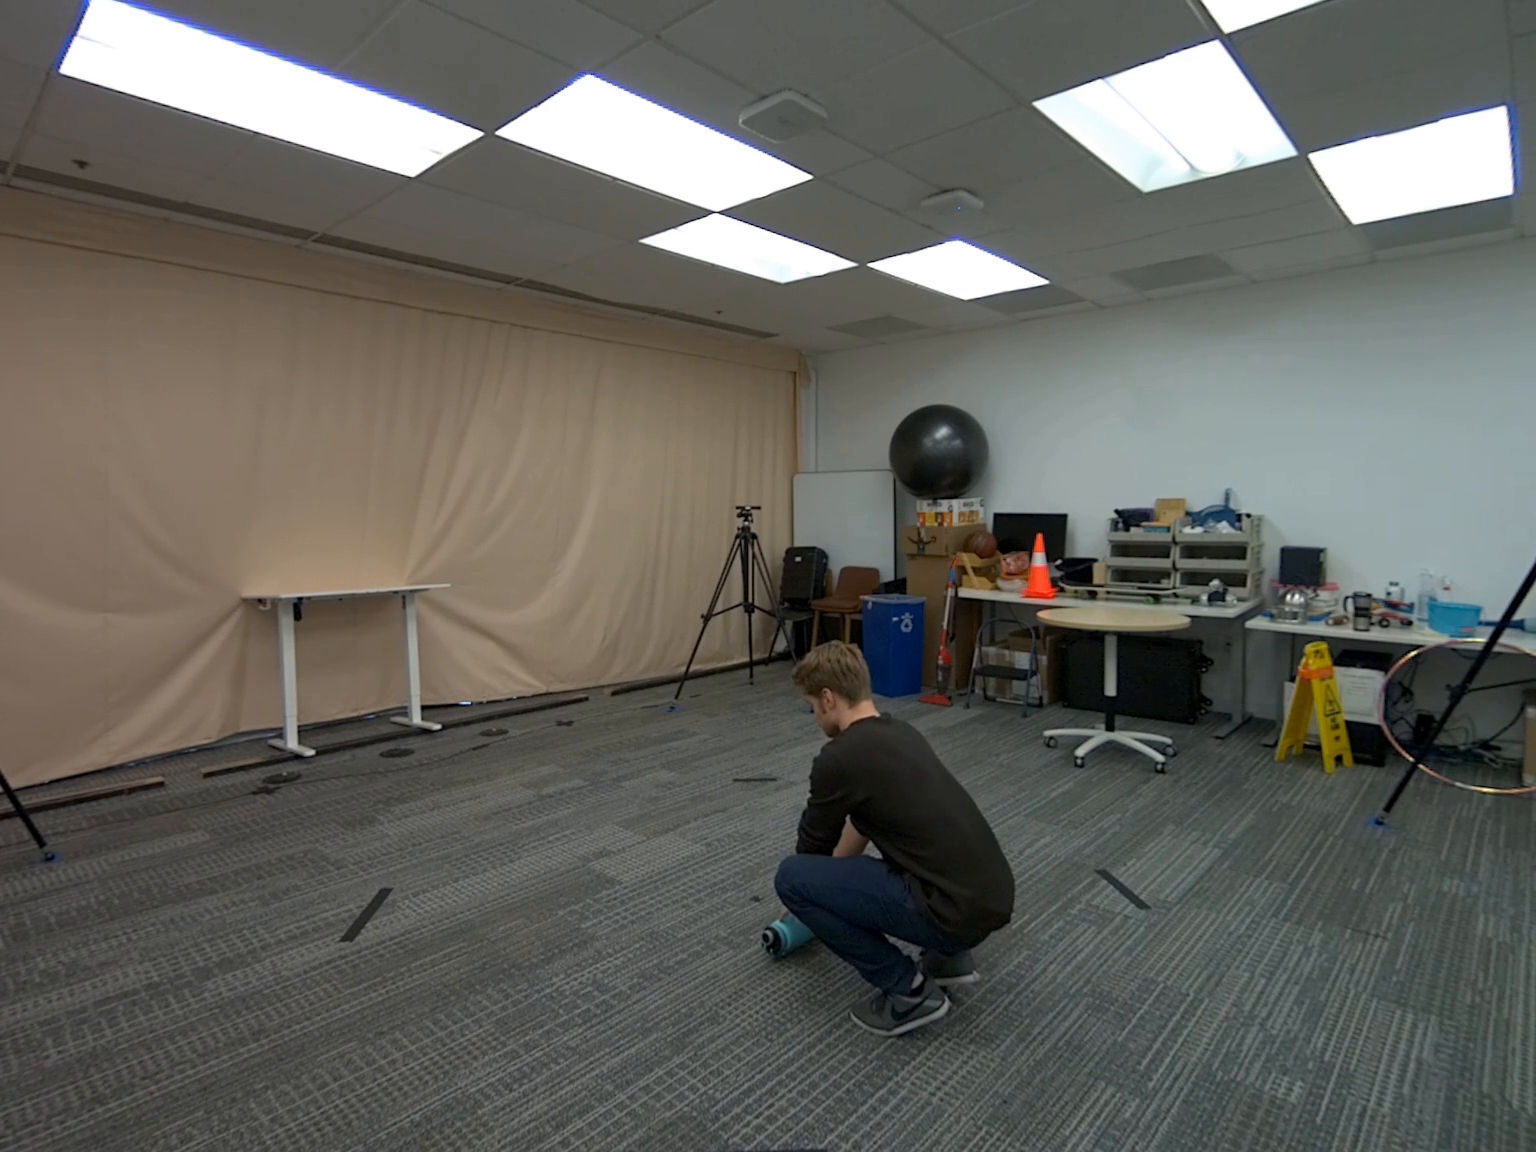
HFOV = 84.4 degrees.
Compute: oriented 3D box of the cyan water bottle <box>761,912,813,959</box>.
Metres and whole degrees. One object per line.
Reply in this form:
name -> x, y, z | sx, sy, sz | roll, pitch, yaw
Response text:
cyan water bottle -> 0.092, 1.109, 2.659 | 0.275, 0.092, 0.095 | -4, 6, -44
